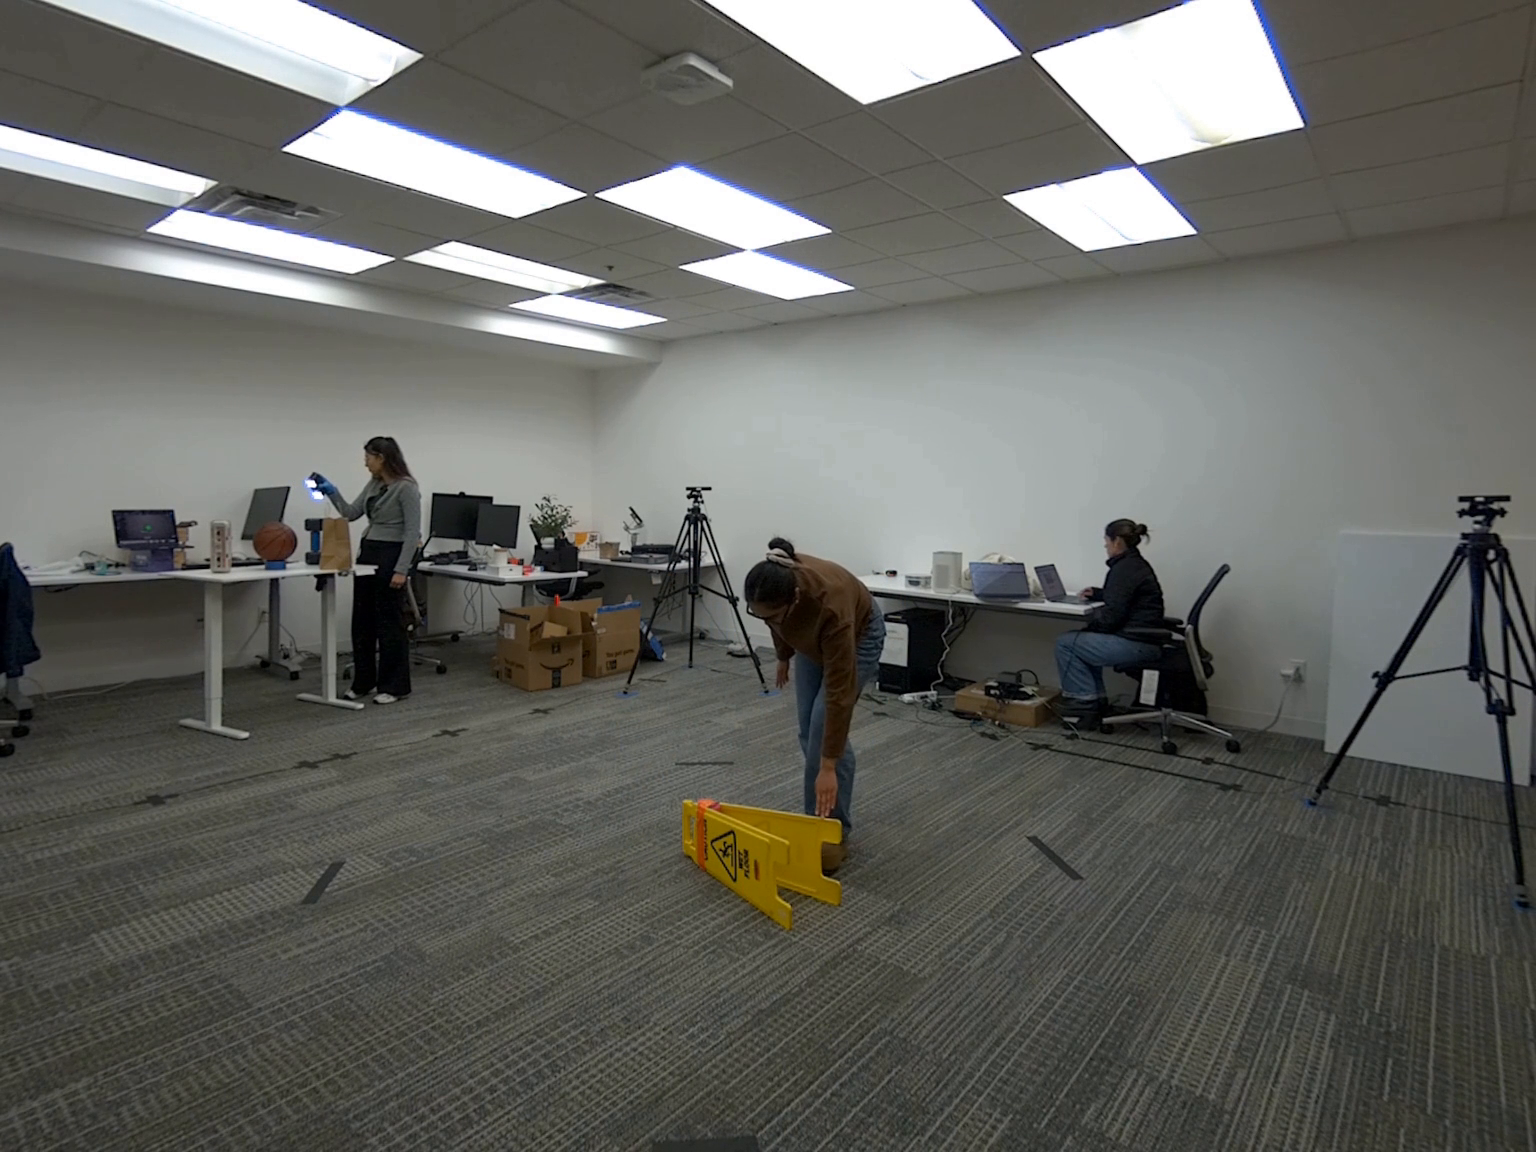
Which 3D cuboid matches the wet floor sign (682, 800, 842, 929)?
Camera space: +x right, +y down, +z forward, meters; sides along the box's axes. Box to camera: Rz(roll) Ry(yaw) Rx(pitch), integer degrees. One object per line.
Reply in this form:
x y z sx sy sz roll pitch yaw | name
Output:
-0.091 0.953 2.988 0.667 0.282 0.281 3 4 44 | wet floor sign
